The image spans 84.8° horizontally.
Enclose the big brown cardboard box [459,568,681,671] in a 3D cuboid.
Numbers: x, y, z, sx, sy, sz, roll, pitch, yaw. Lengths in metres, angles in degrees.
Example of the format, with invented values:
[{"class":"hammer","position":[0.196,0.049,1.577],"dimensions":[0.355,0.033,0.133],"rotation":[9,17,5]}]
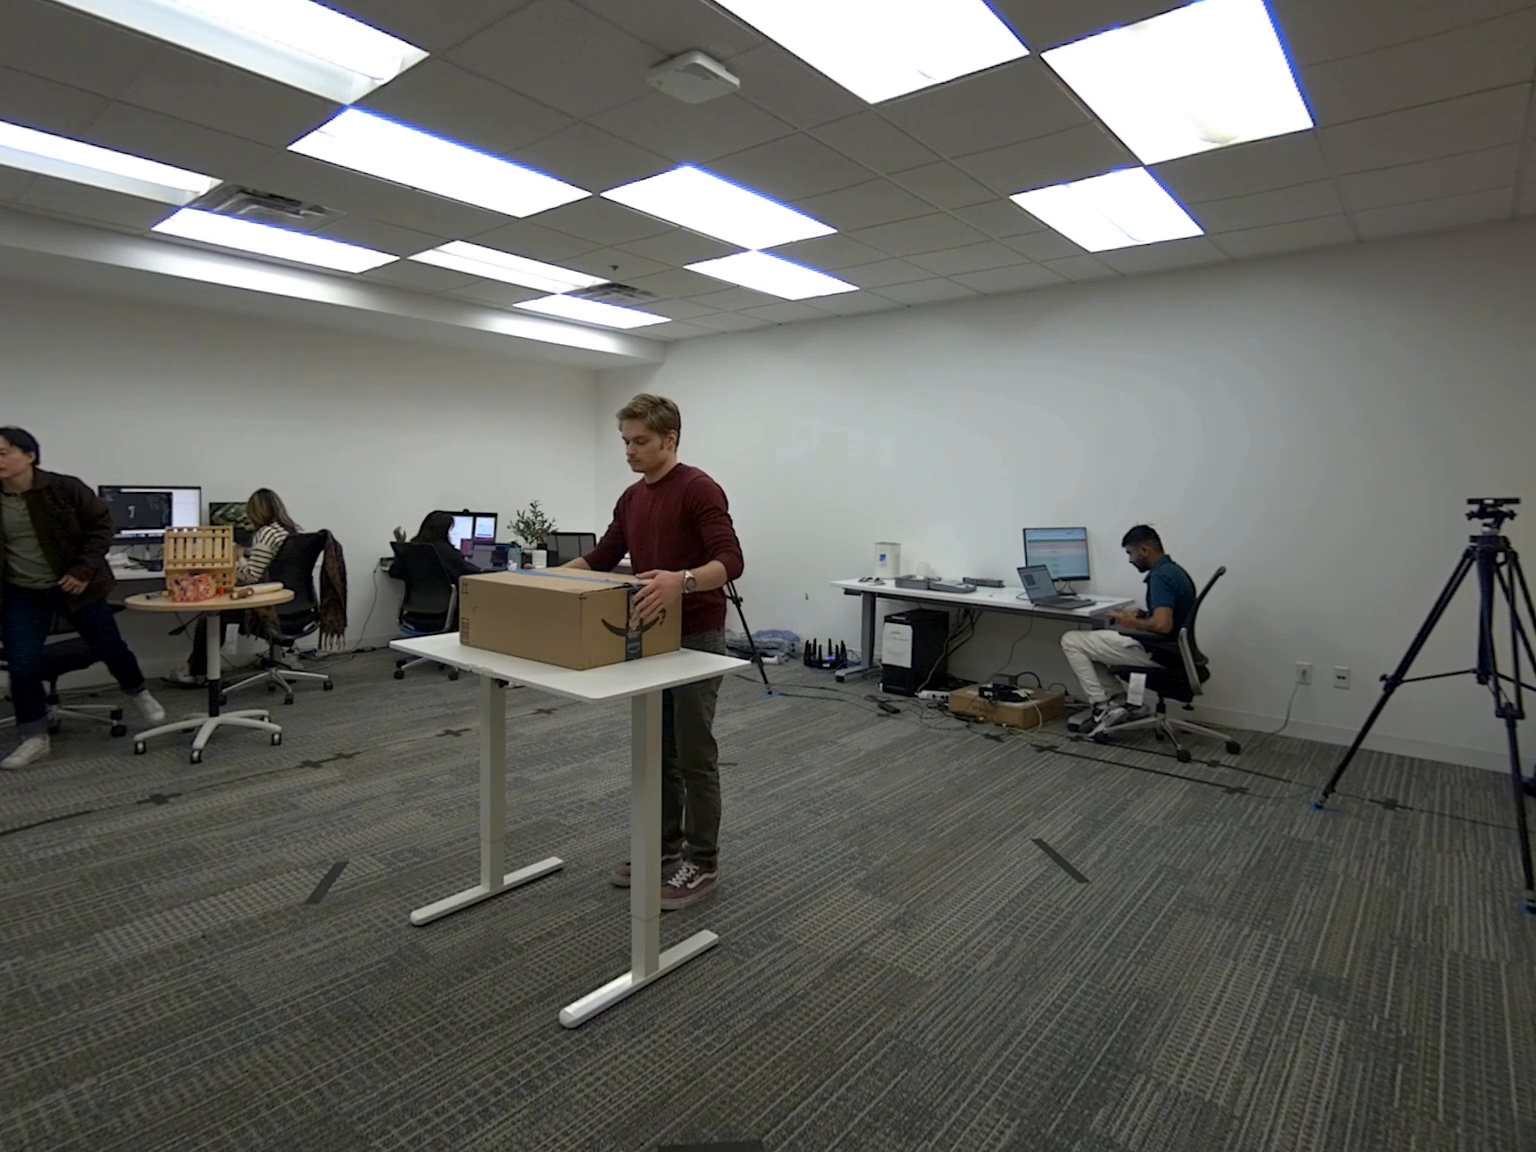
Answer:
[{"class":"big brown cardboard box","position":[-0.624,0.112,2.649],"dimensions":[0.608,0.232,0.406],"rotation":[5,7,37]}]
